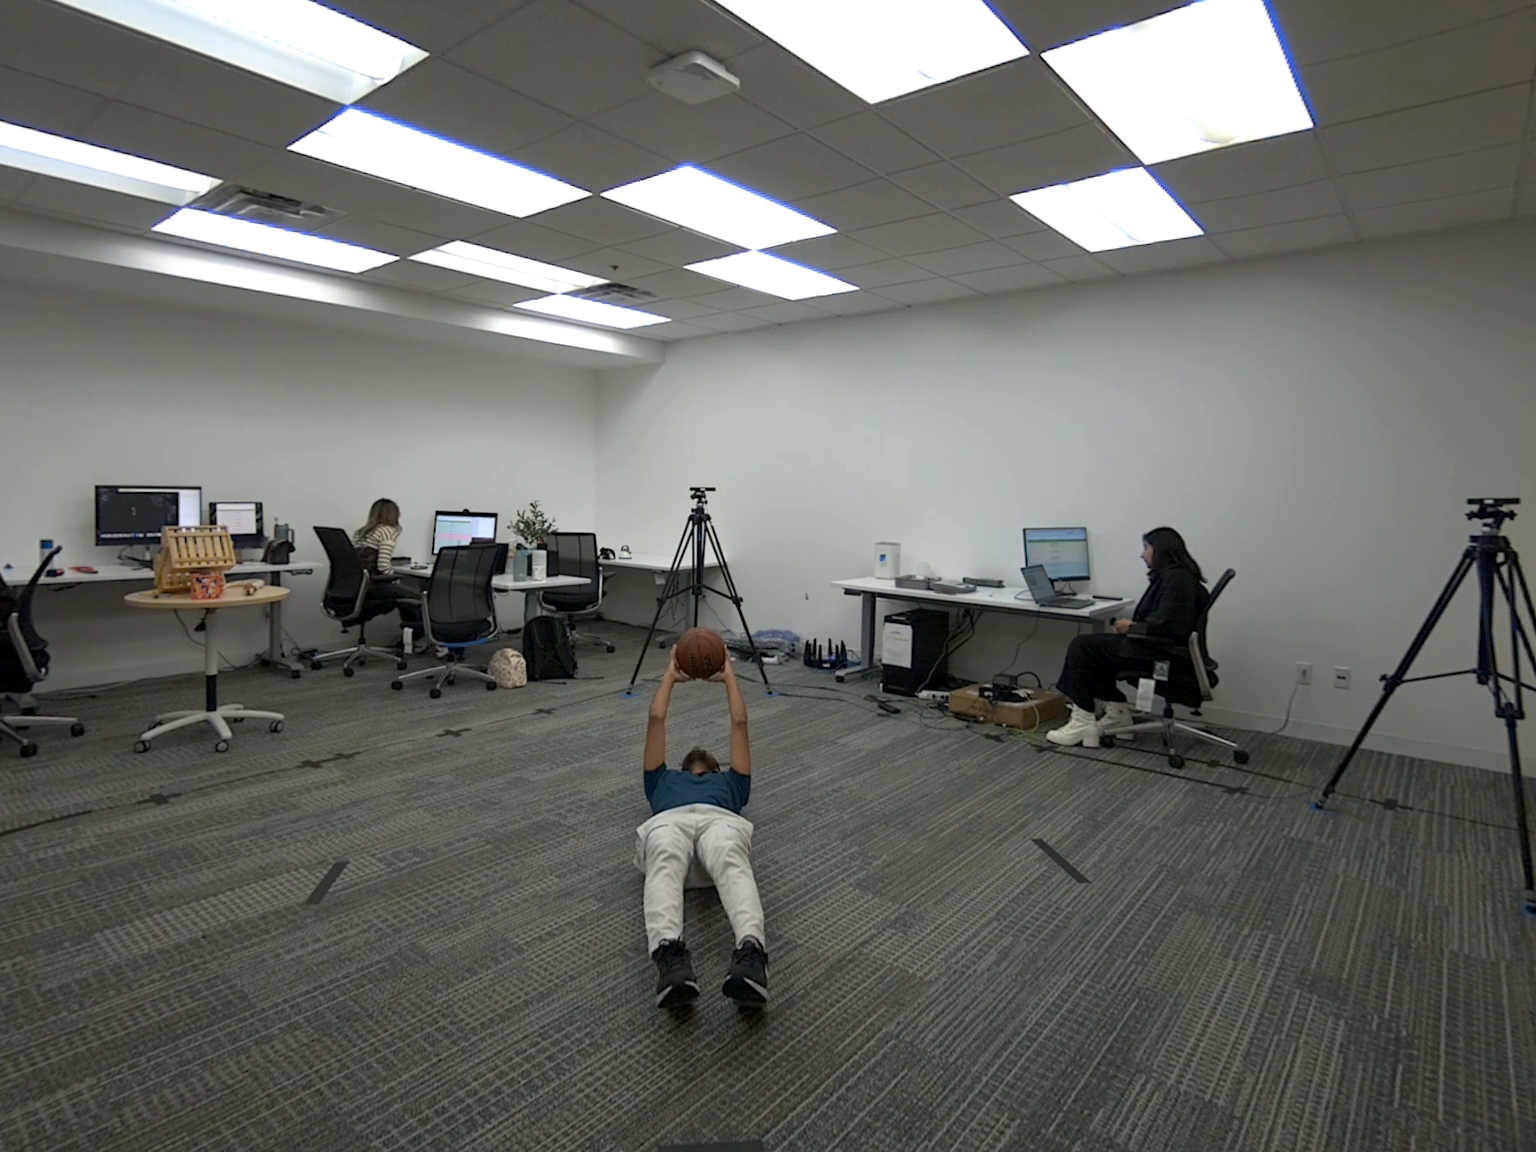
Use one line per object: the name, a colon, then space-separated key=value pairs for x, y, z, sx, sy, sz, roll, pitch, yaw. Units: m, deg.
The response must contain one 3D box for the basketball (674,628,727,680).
basketball: x=-0.330 y=0.360 z=3.980 sx=0.235 sy=0.235 sz=0.237 roll=1 pitch=4 yaw=-2
